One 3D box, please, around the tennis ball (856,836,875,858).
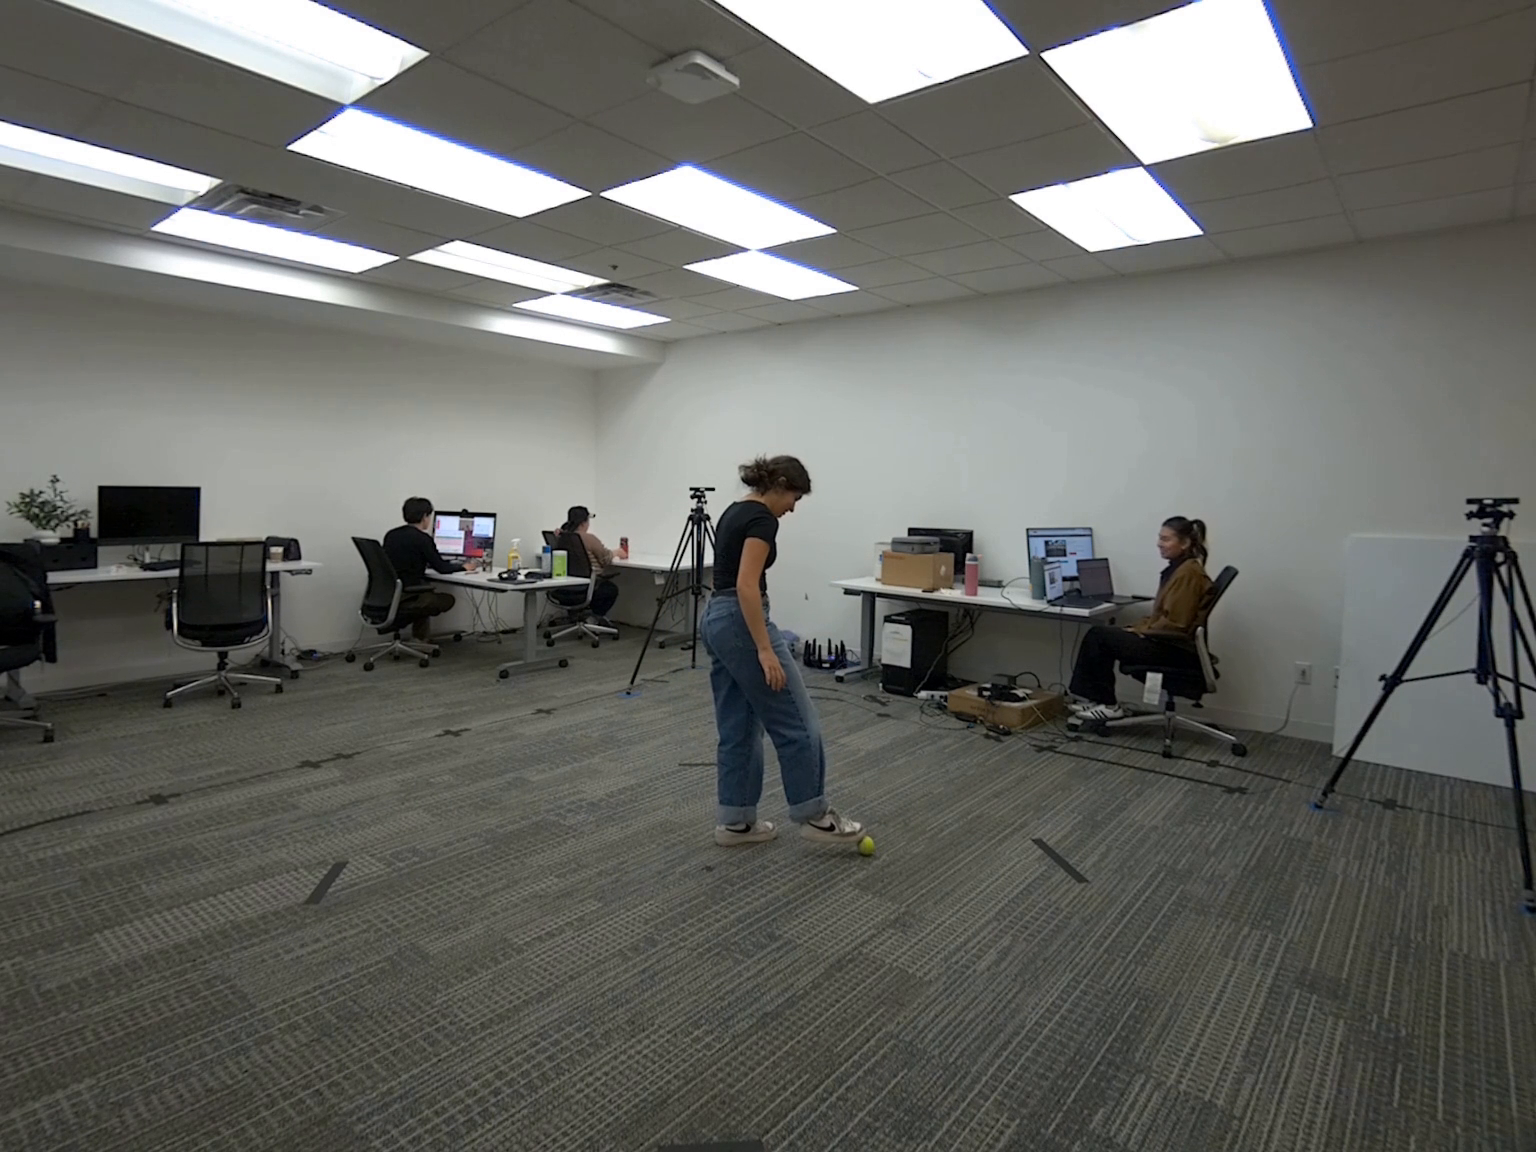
[{"bbox_3d":[0.369,1.026,3.254,0.066,0.066,0.067,1,4,-2],"label":"tennis ball"}]
